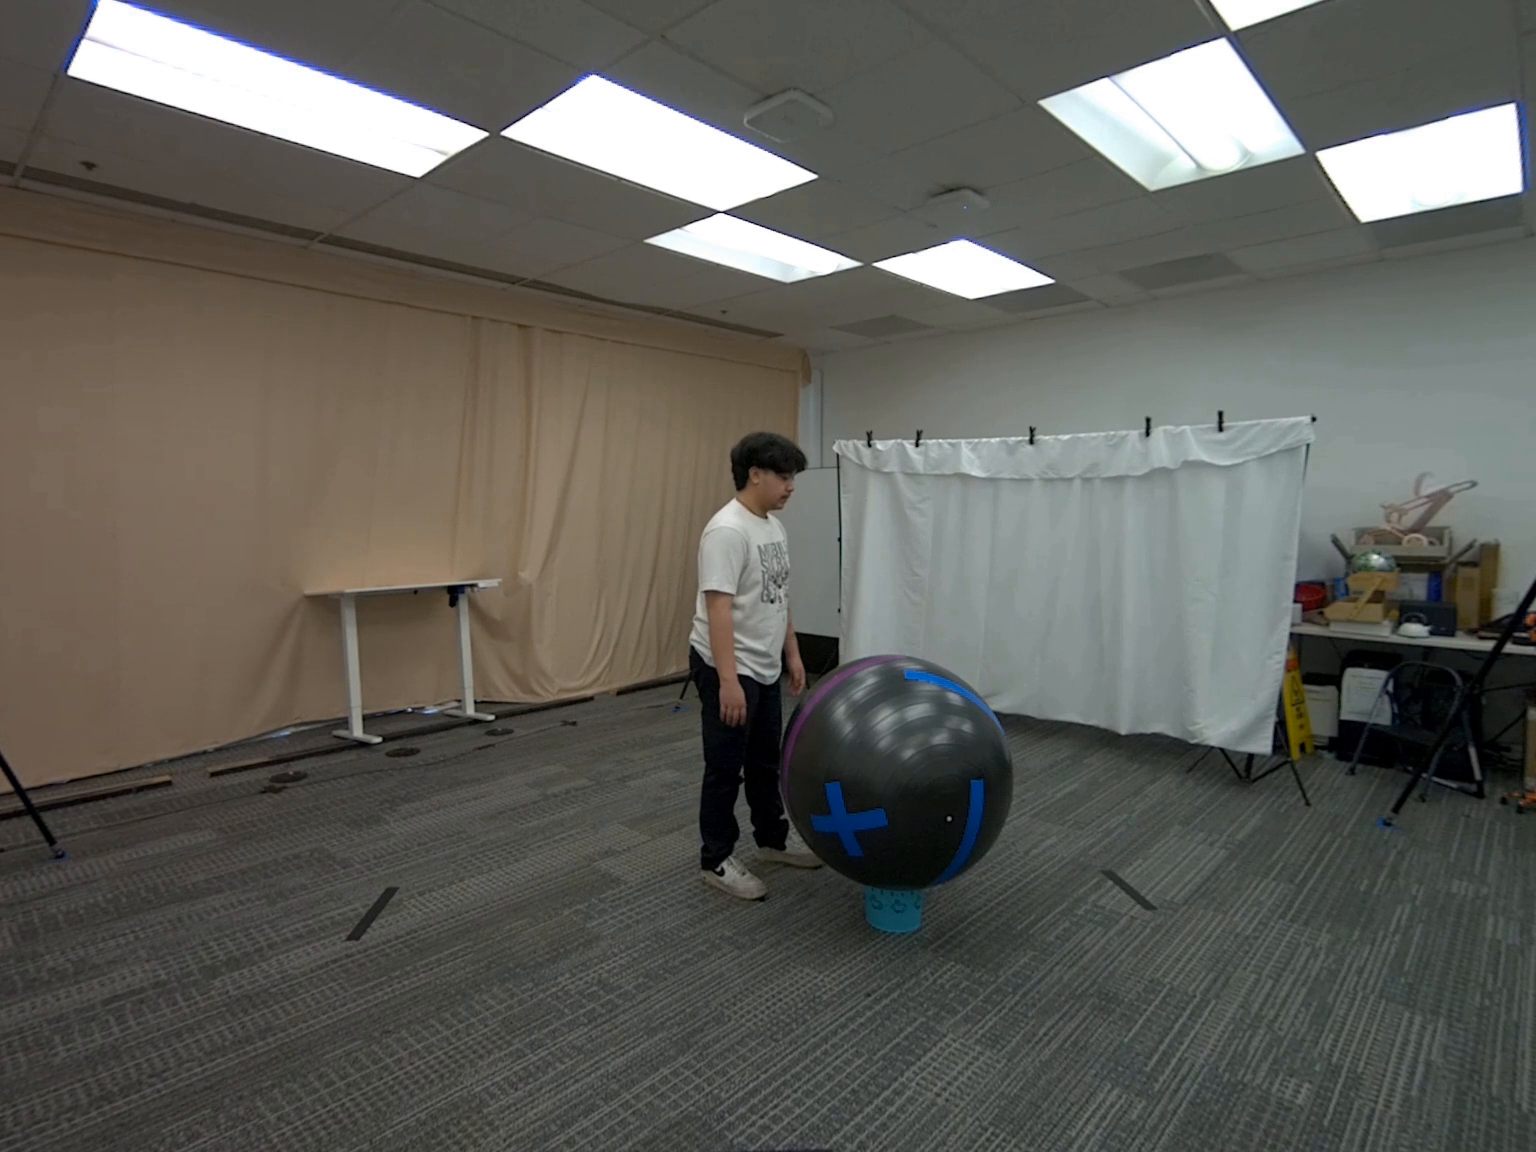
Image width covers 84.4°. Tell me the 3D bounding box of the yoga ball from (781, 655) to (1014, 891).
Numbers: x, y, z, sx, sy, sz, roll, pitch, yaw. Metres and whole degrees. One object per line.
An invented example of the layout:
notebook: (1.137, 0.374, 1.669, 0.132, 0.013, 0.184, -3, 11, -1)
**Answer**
yoga ball: (0.424, 0.648, 2.813, 0.757, 0.756, 0.760, 0, 4, -2)
